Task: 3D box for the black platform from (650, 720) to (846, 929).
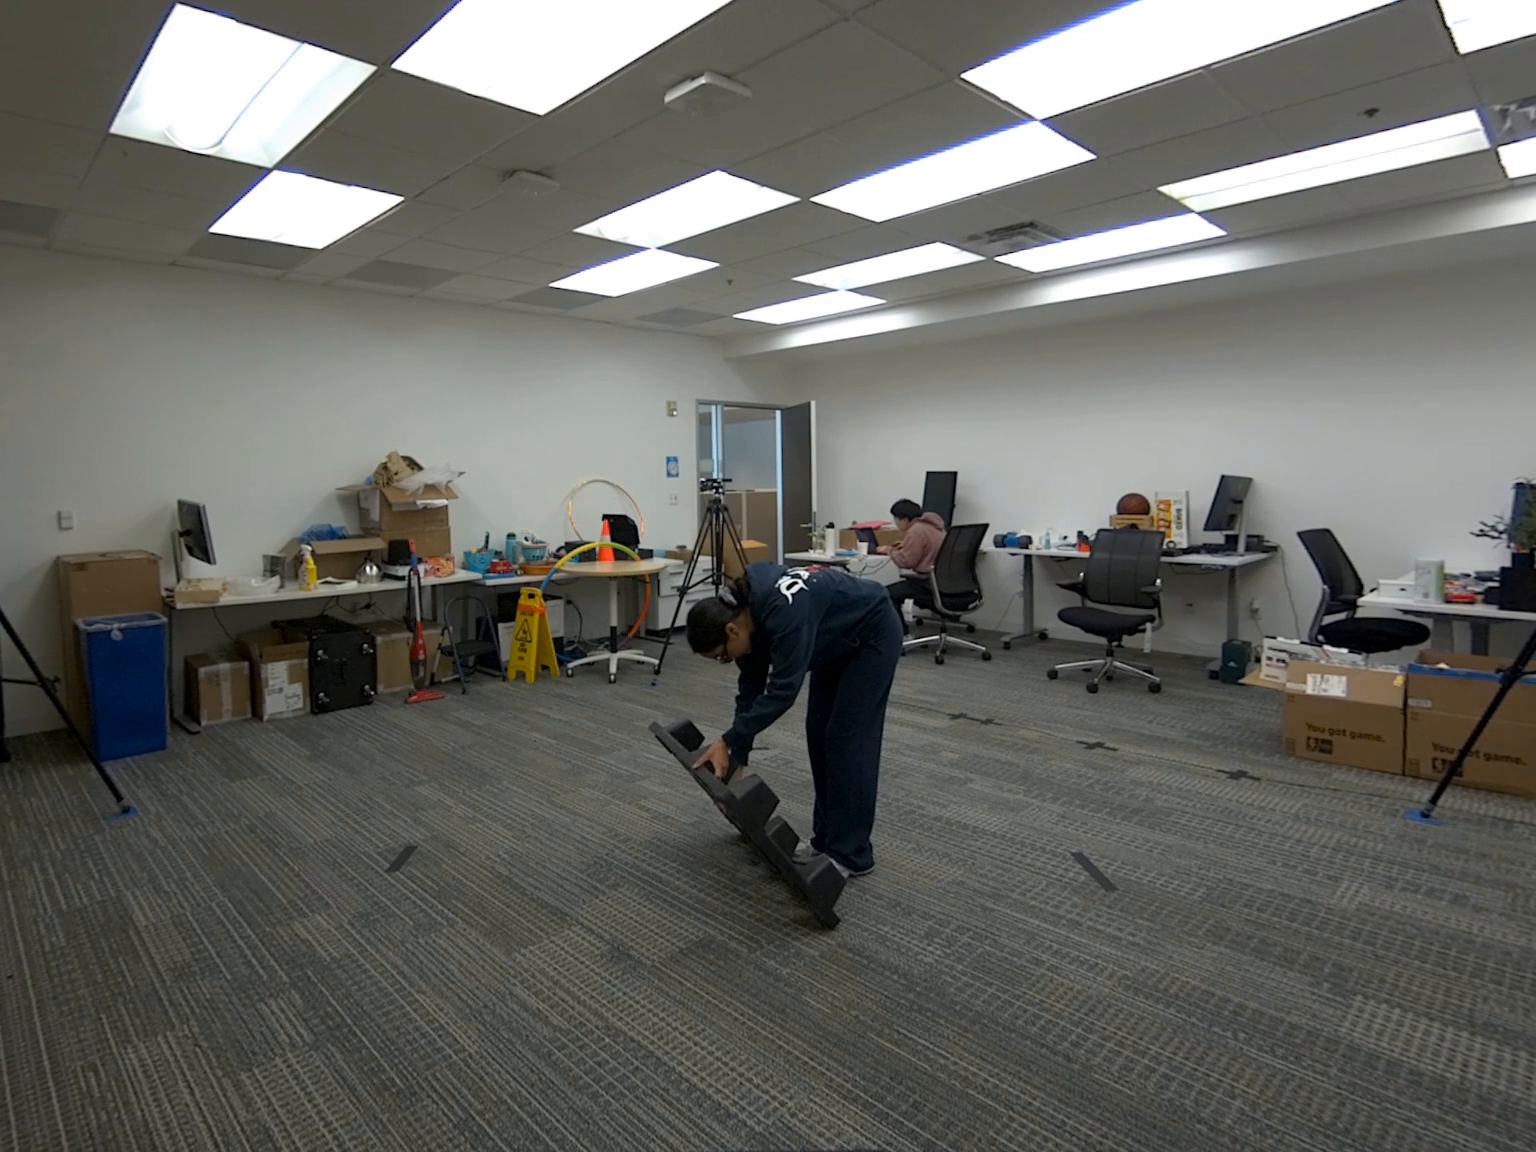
[{"bbox_3d":[-0.076,0.792,2.935,0.143,0.592,0.824,-42,18,-13],"label":"black platform"}]
